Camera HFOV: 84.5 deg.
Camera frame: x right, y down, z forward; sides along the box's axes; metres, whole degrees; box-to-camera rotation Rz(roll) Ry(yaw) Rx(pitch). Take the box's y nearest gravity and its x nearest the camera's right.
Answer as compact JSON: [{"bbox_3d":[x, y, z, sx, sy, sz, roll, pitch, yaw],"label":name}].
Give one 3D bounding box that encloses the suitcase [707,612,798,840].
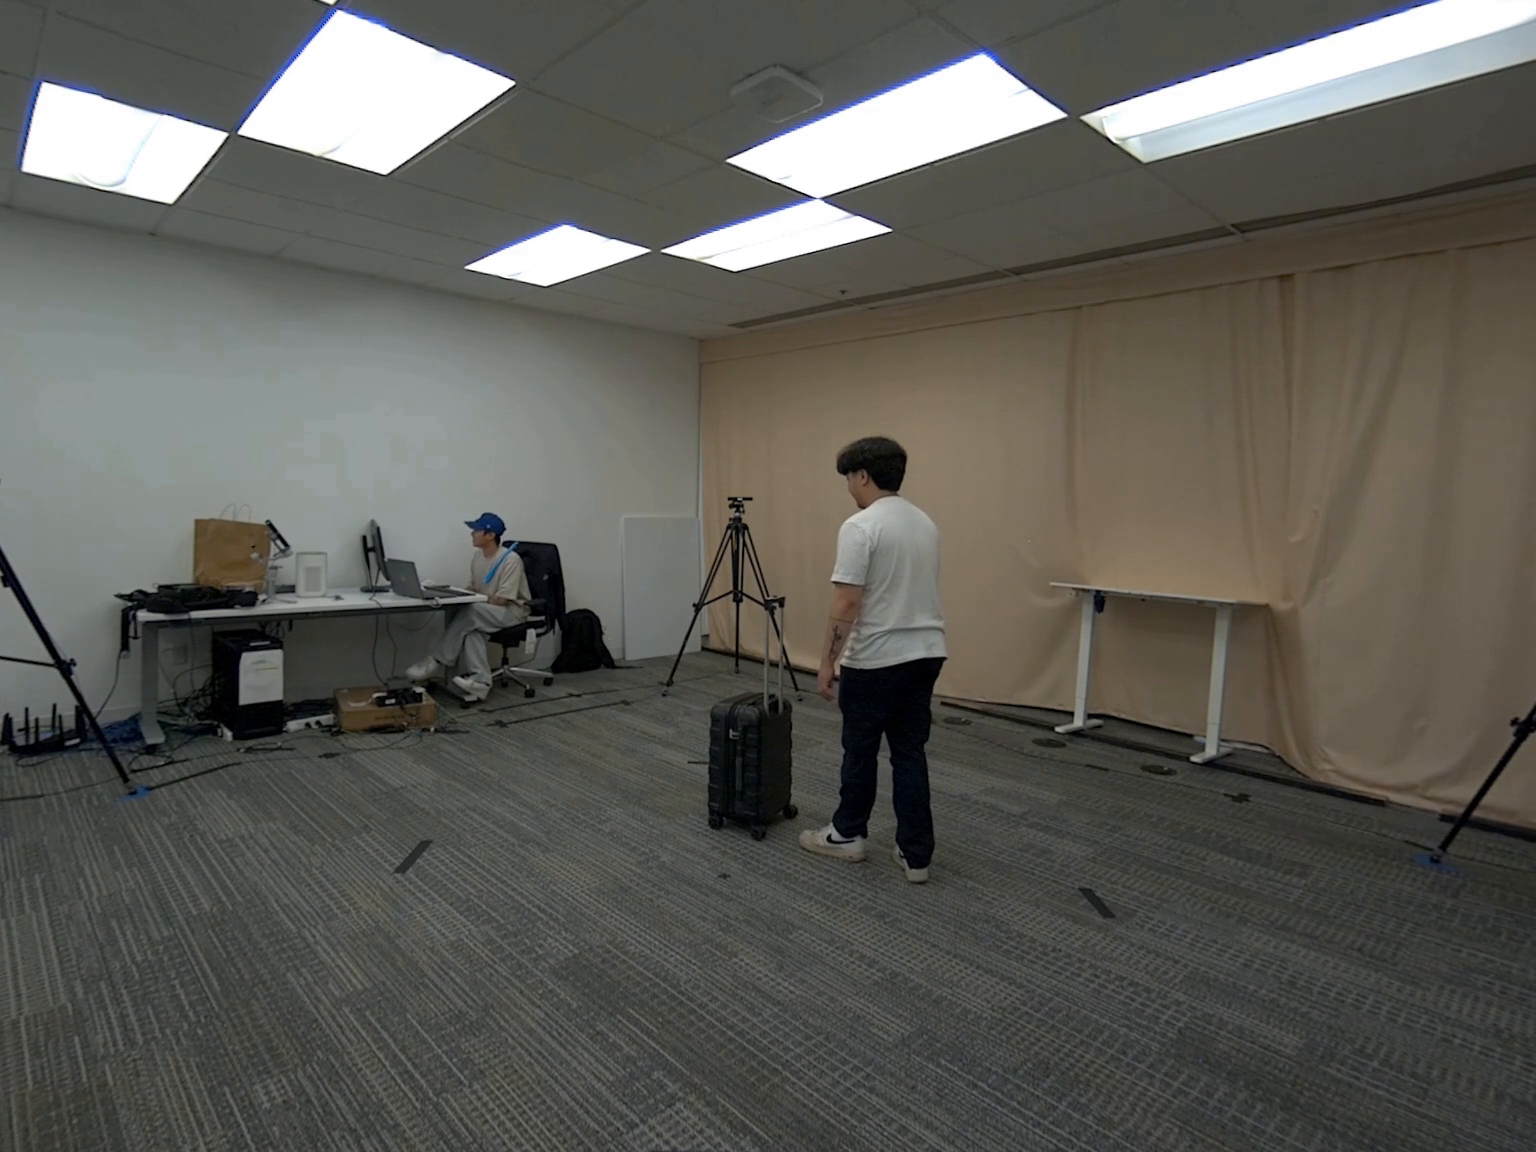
[{"bbox_3d":[-0.083,0.587,3.633,0.262,0.978,0.376,-1,1,30],"label":"suitcase"}]
